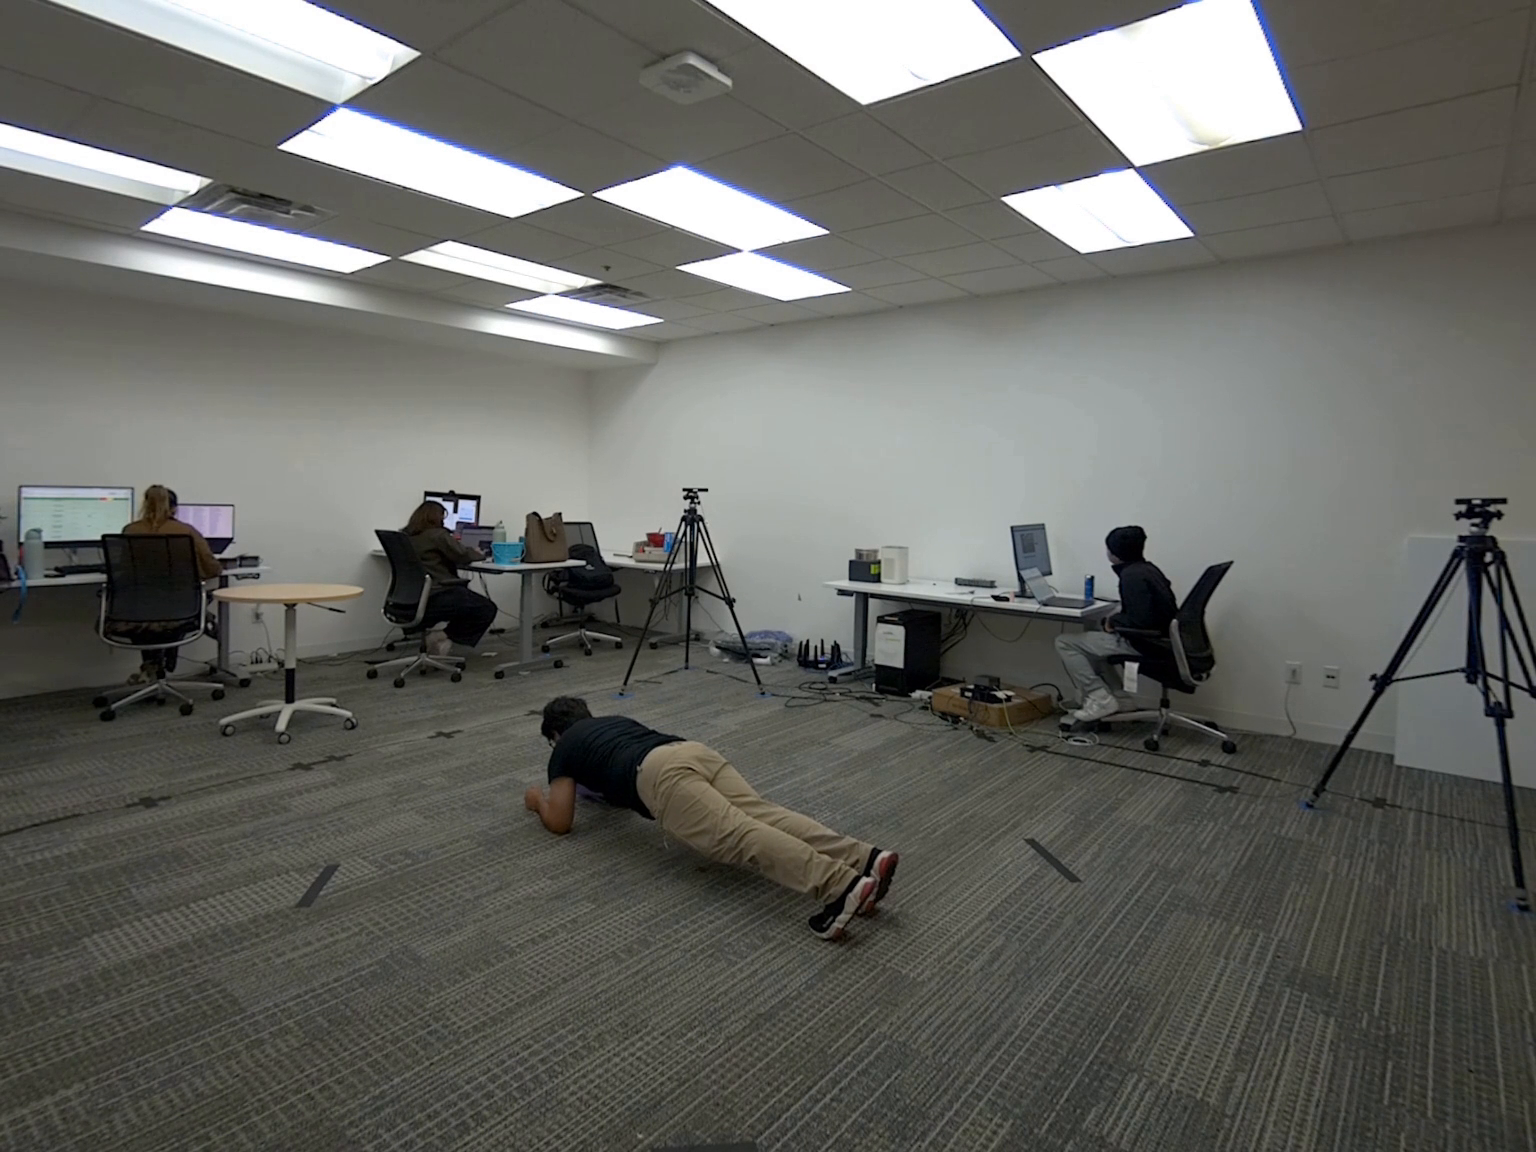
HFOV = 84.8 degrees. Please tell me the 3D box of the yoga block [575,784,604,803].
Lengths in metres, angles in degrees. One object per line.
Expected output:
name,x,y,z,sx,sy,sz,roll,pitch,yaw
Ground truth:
yoga block,-0.765,0.890,3.767,0.236,0.149,0.074,-5,0,43
